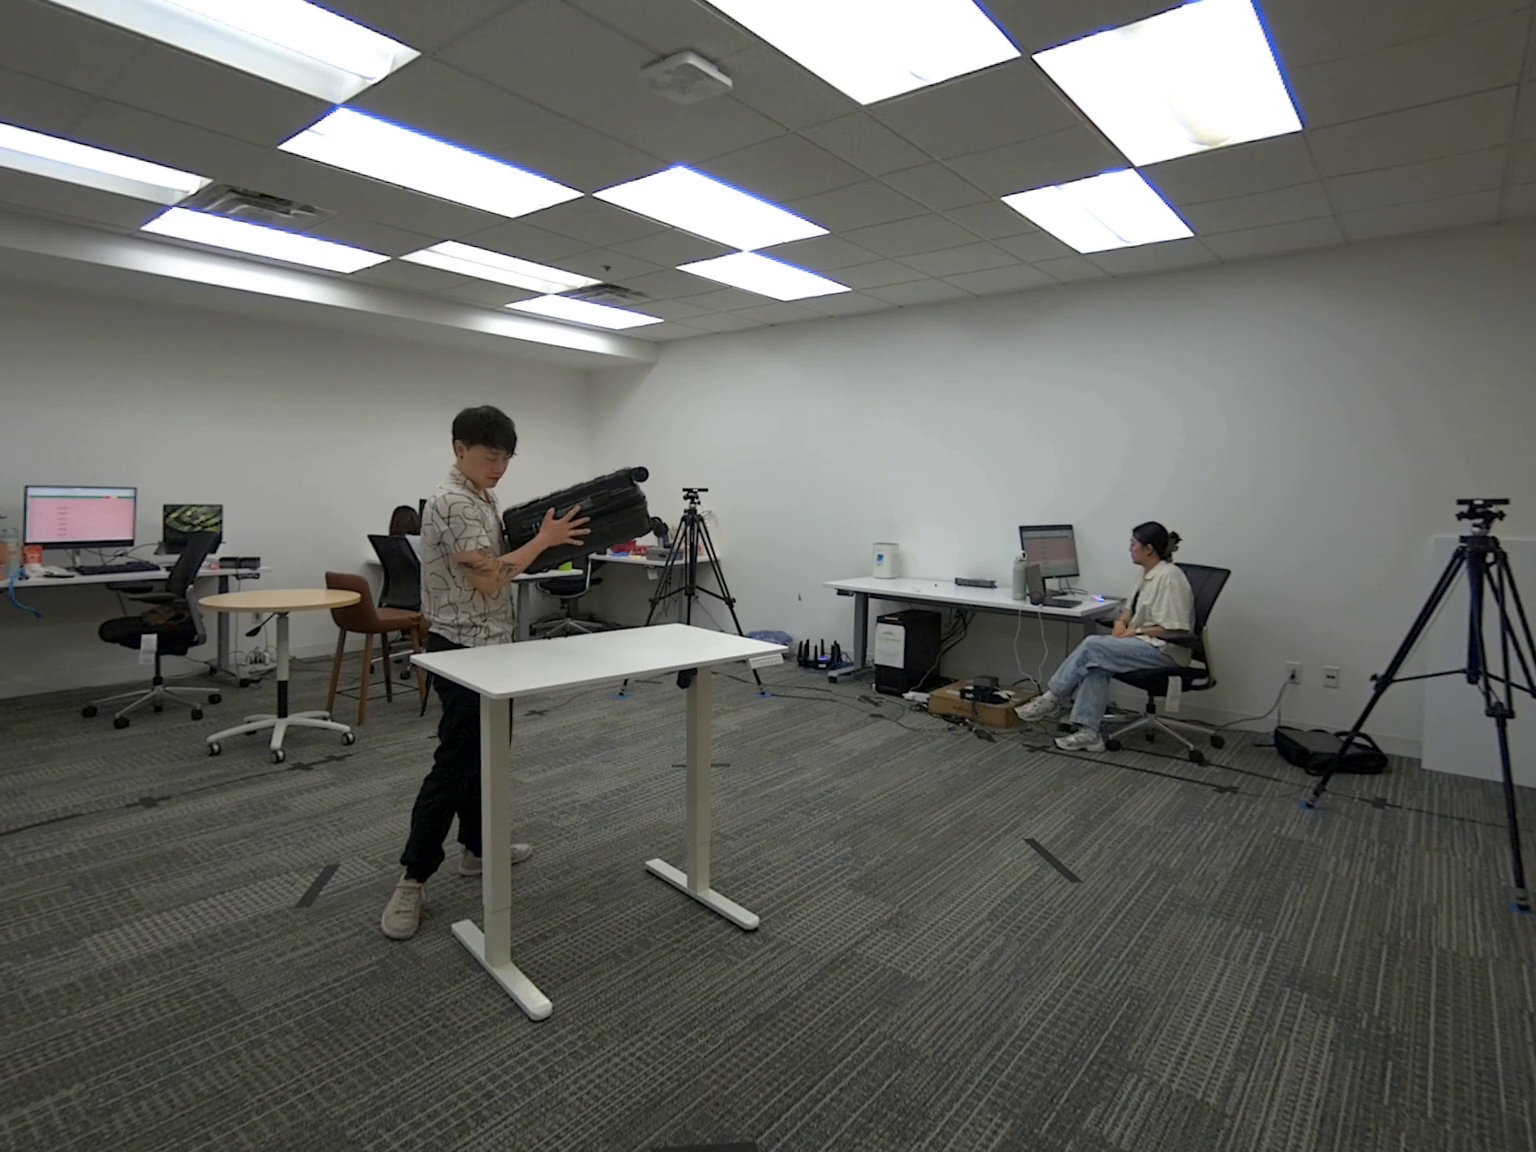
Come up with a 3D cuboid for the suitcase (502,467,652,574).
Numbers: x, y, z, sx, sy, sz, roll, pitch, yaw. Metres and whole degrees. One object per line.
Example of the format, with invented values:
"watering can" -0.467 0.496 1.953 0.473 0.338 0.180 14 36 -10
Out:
"suitcase" -0.707 -0.211 3.128 0.547 0.246 0.381 -19 9 -7
